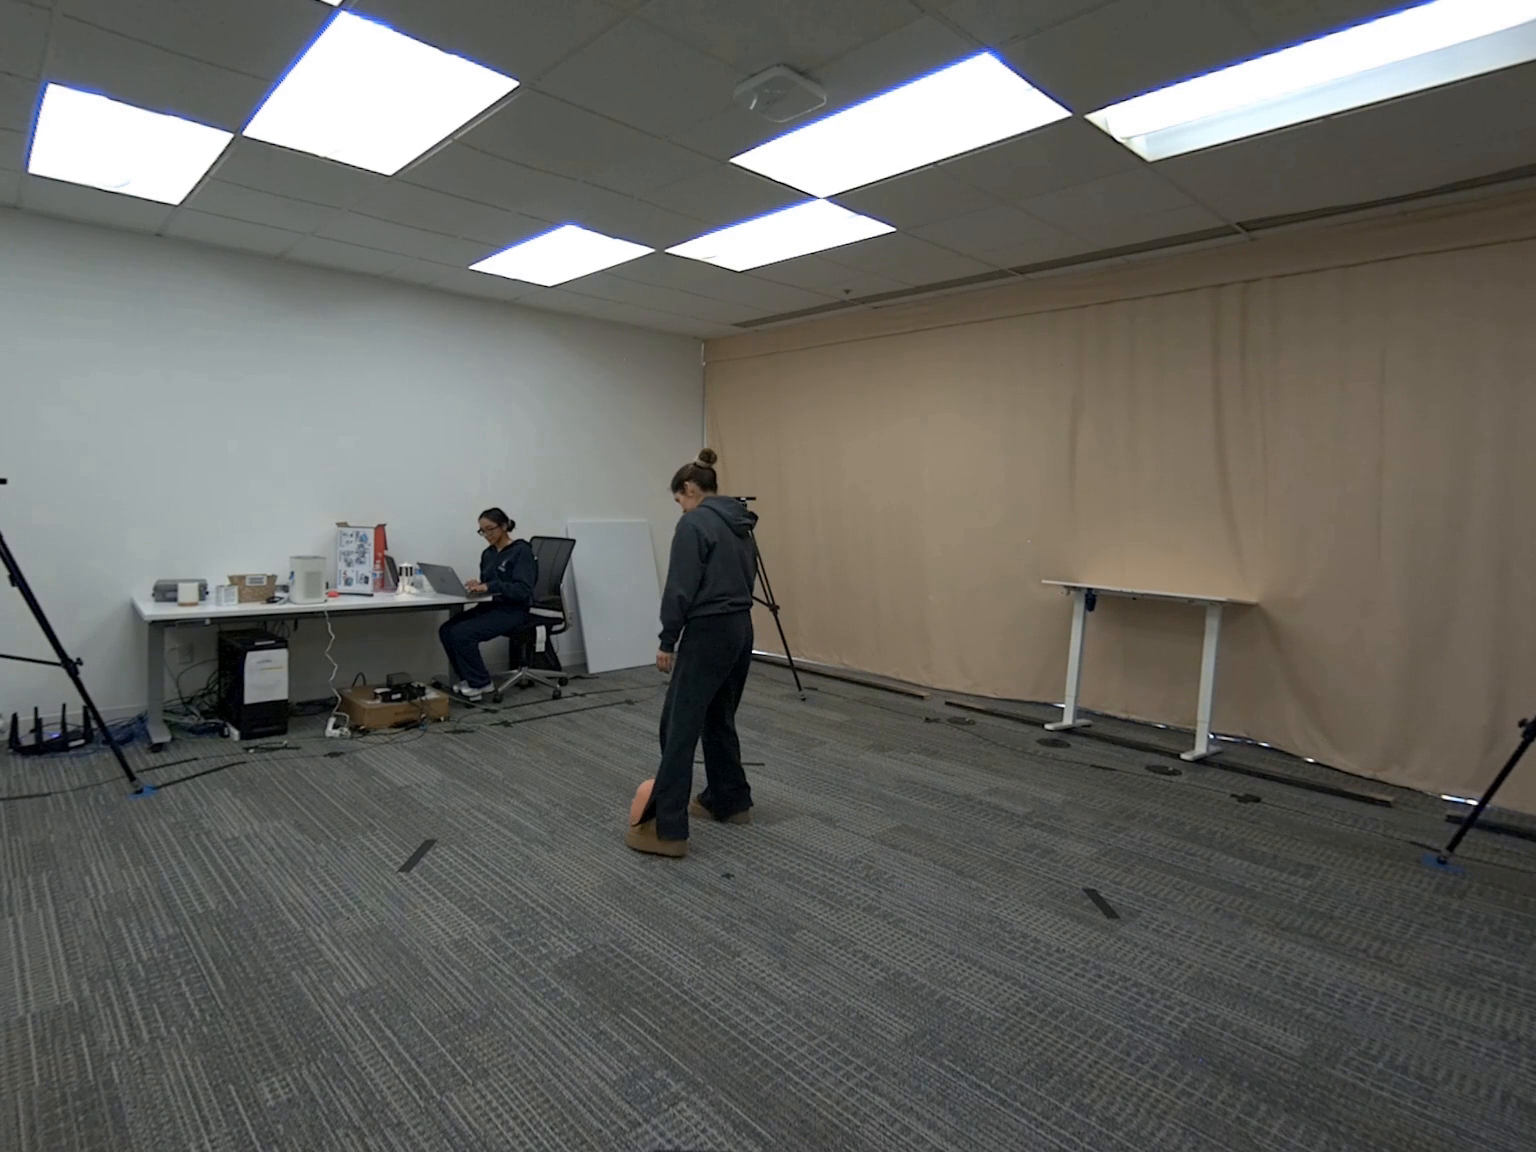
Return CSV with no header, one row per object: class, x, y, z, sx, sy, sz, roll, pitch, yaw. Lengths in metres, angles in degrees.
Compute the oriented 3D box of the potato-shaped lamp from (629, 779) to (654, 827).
potato-shaped lamp,-0.505,0.958,3.560,0.176,0.198,0.161,3,4,41
